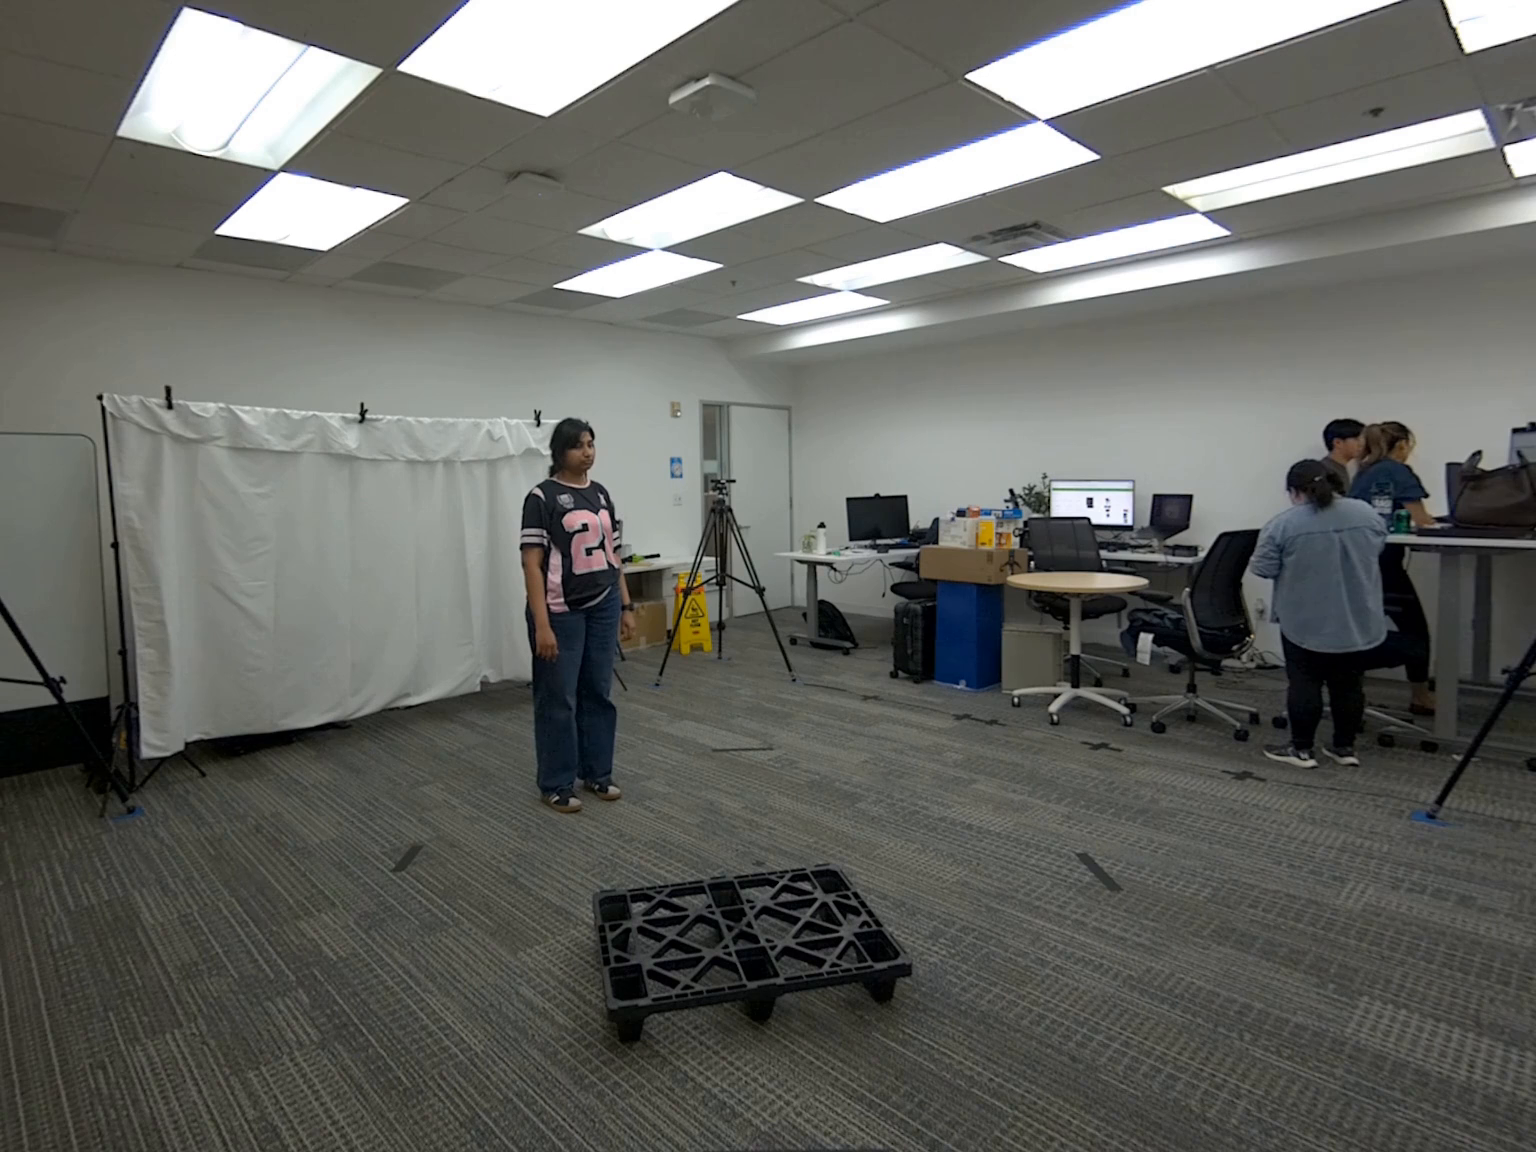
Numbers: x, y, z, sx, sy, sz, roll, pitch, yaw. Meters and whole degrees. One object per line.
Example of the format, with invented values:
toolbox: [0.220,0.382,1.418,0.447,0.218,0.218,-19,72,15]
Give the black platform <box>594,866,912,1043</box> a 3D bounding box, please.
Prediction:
black platform: [-0.080,1.058,2.439,0.796,0.143,0.615,-3,6,-13]
